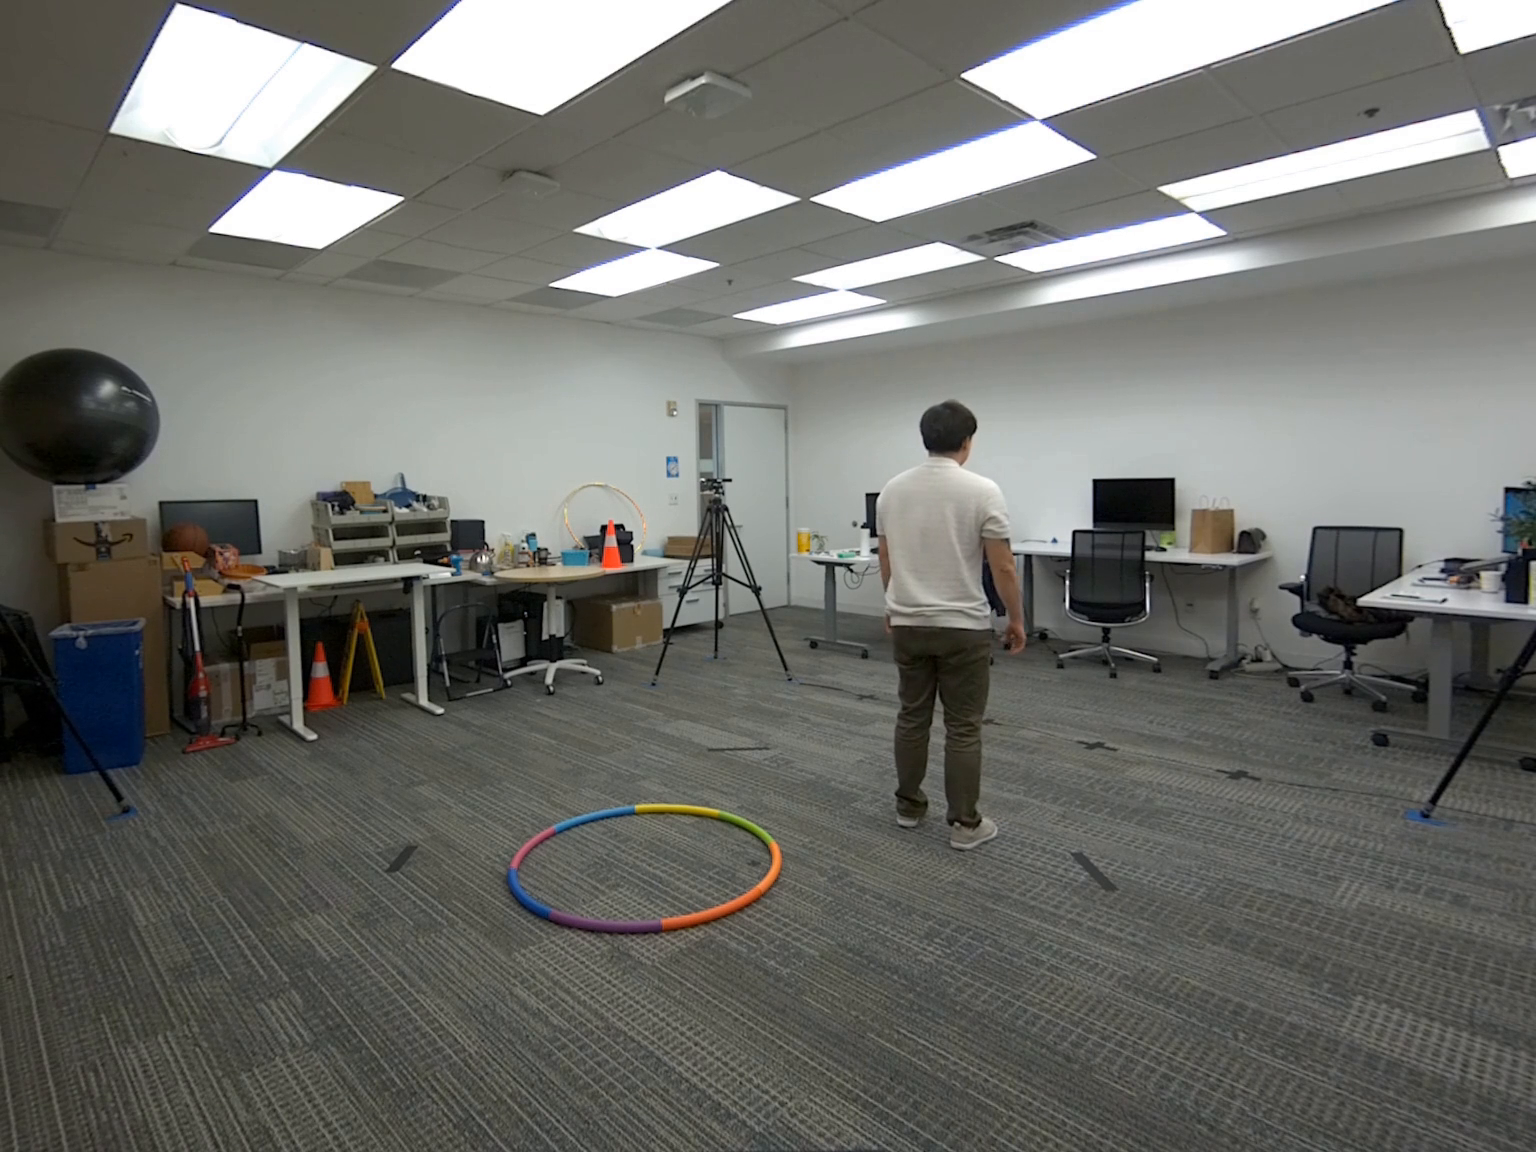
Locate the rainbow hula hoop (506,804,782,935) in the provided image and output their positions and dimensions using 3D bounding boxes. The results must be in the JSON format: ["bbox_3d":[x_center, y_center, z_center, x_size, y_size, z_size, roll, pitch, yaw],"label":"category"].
[{"bbox_3d":[-0.442,1.020,3.126,0.978,0.035,0.984,-1,7,-2],"label":"rainbow hula hoop"}]
